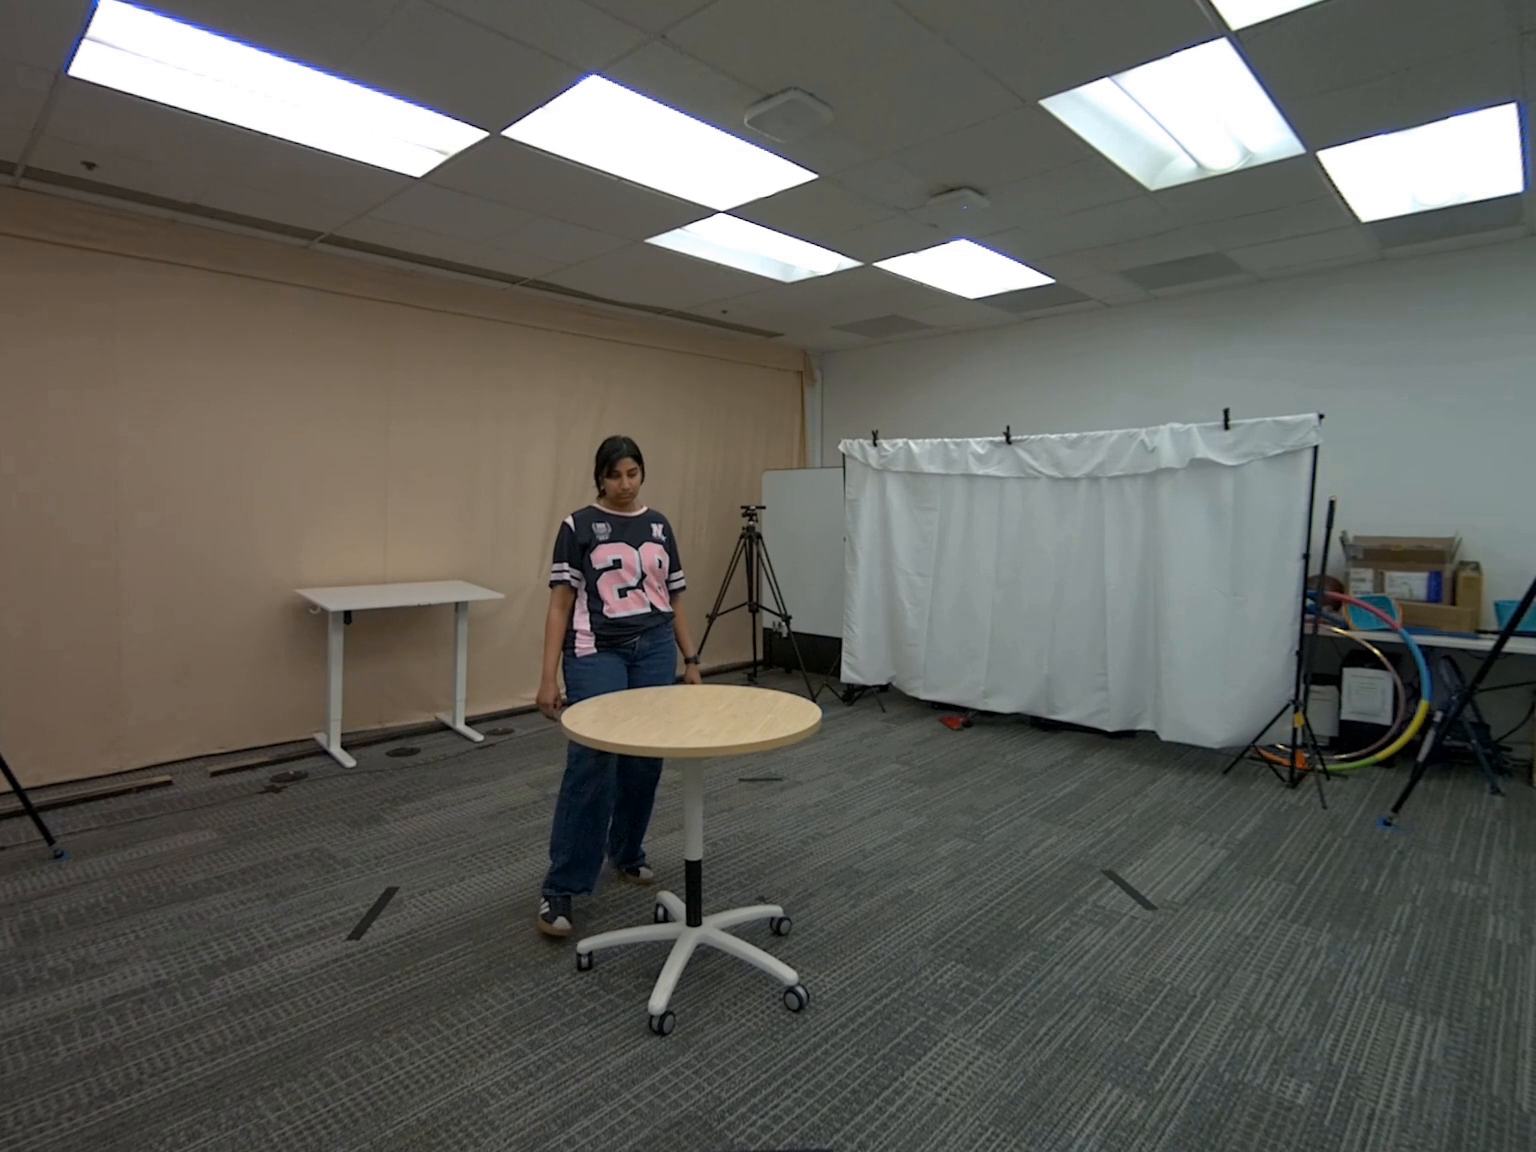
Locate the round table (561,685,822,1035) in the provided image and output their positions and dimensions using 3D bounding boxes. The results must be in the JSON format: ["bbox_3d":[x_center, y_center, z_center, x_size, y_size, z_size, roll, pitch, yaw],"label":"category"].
[{"bbox_3d":[-0.213,0.799,2.507,0.763,0.792,0.766,-1,4,-2],"label":"round table"}]
